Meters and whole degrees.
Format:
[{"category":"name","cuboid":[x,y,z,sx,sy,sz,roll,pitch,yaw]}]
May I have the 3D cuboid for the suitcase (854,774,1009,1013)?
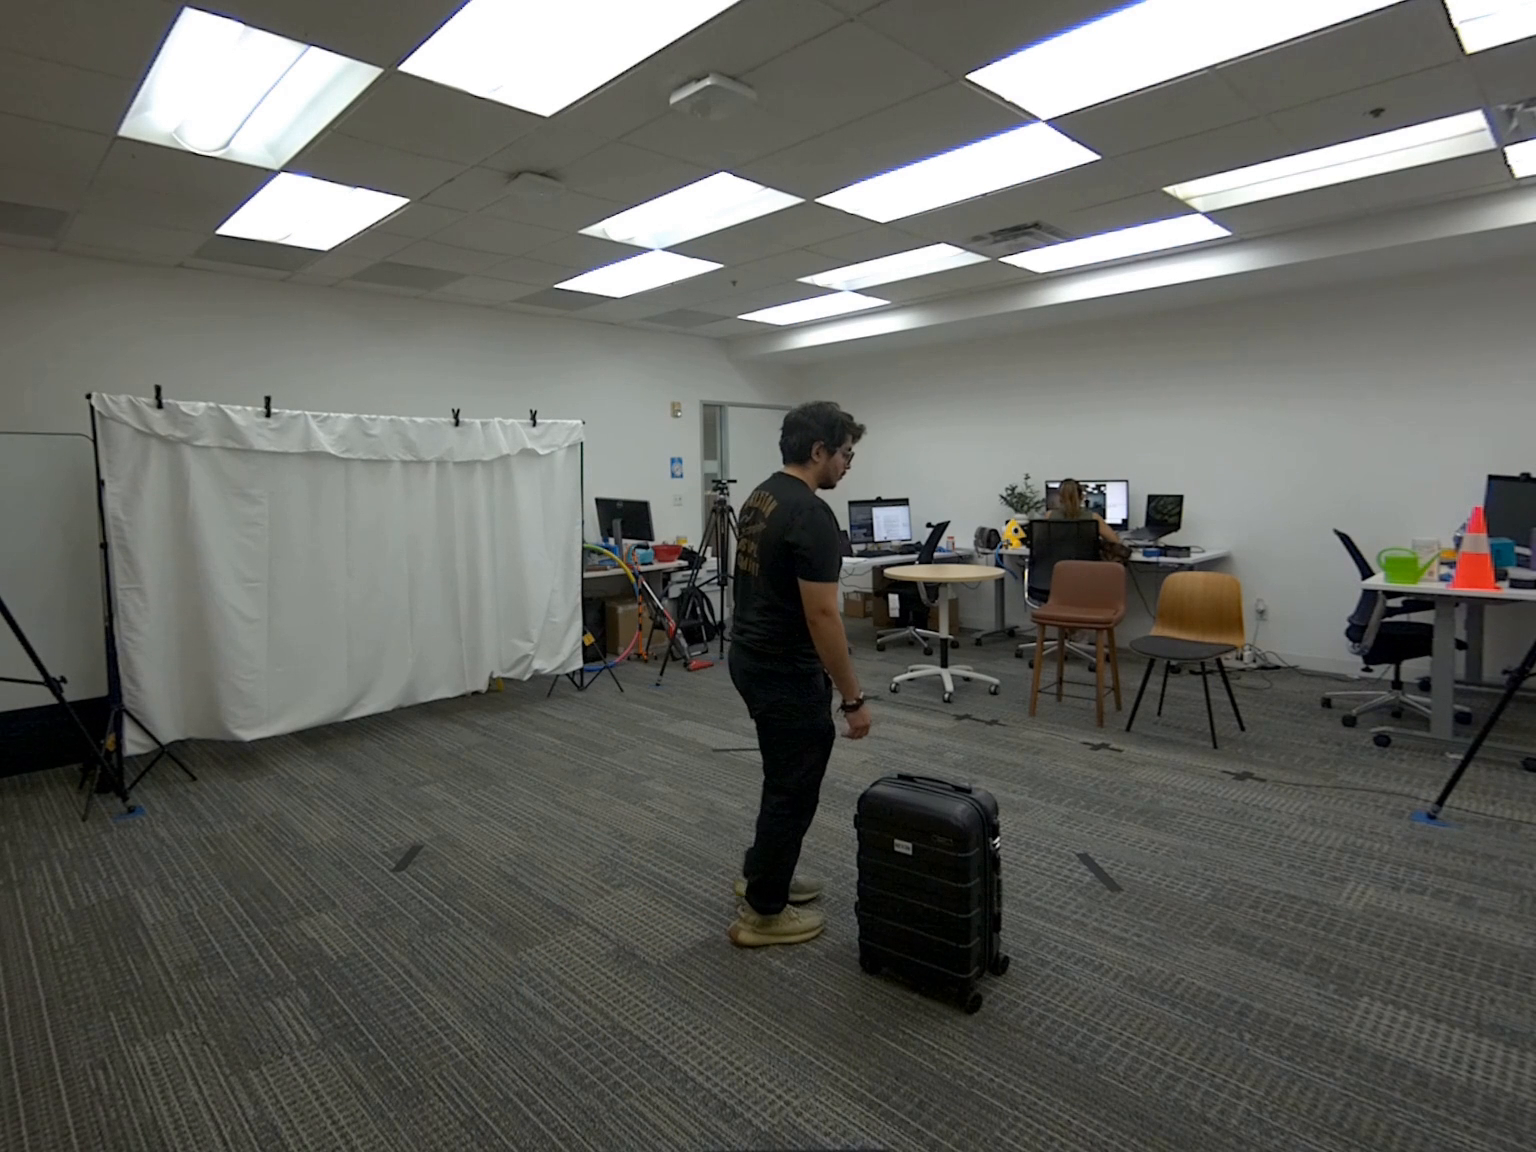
[{"category":"suitcase","cuboid":[0.456,0.847,2.380,0.386,0.546,0.242,1,7,36]}]
